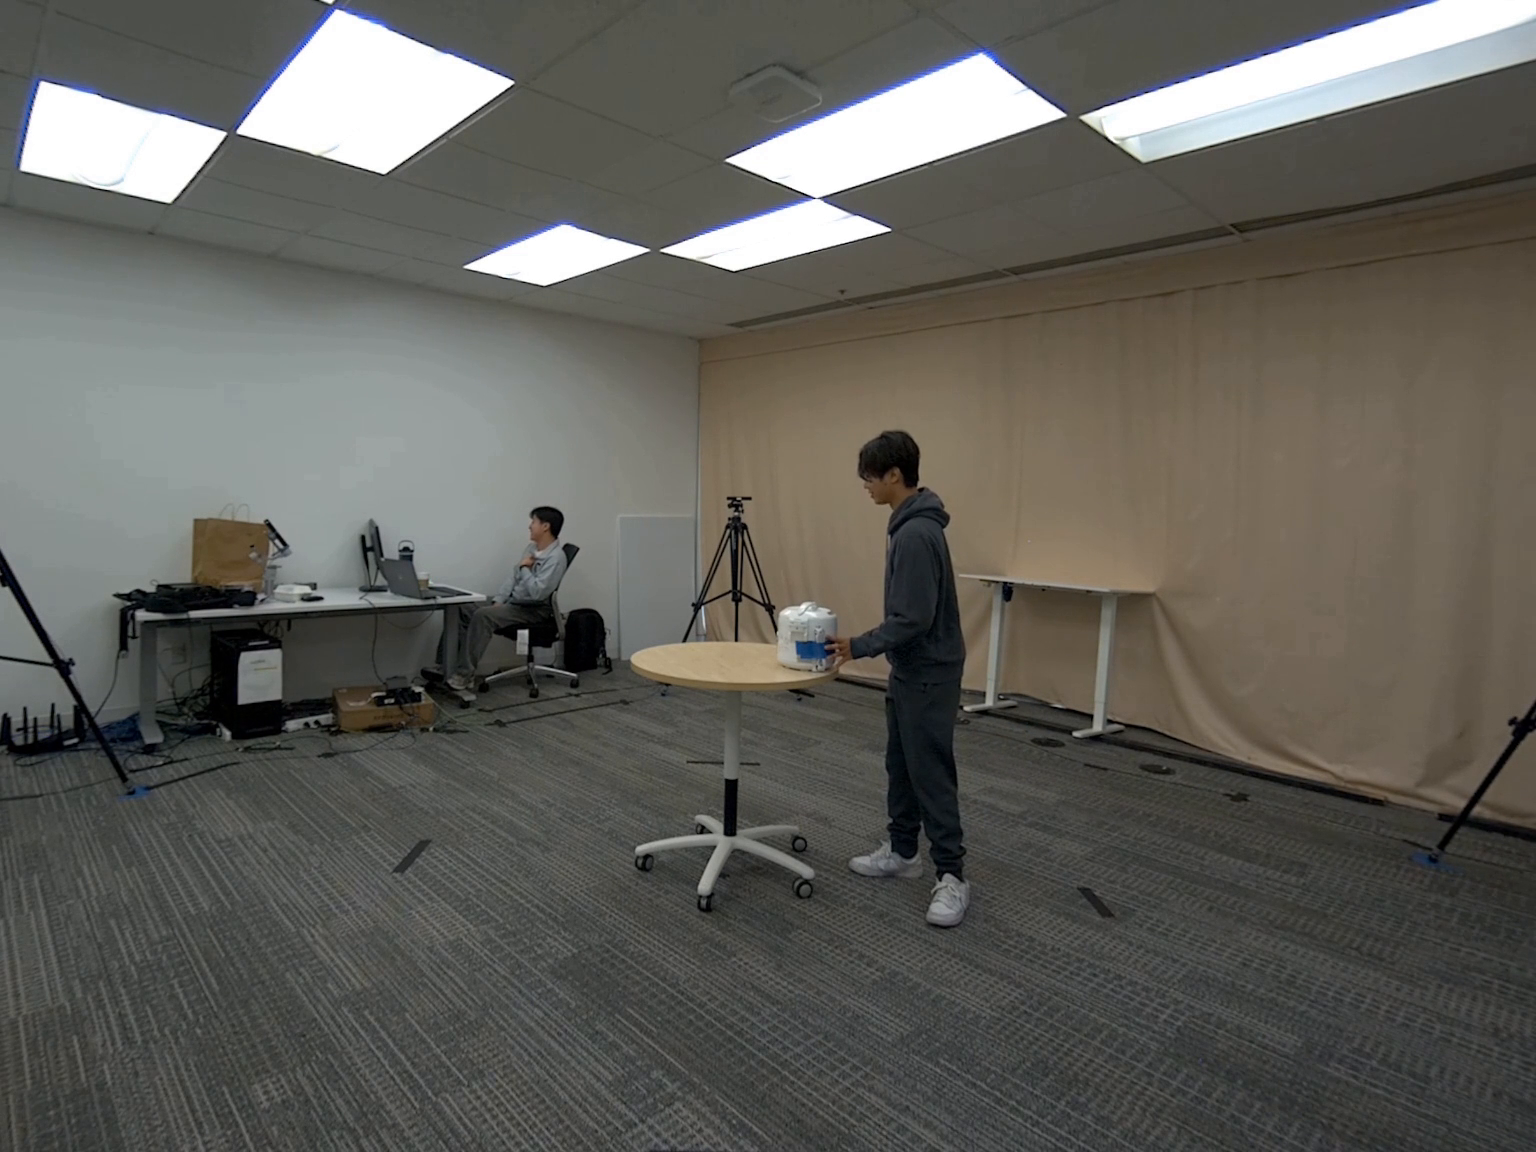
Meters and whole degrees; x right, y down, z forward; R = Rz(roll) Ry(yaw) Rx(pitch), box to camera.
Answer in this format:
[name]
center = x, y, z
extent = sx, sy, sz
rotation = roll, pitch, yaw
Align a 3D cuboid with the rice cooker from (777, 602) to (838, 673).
[rice cooker]
center = 0.137, 0.208, 3.015
extent = 0.222, 0.232, 0.217
rotation = 5, 5, 24
